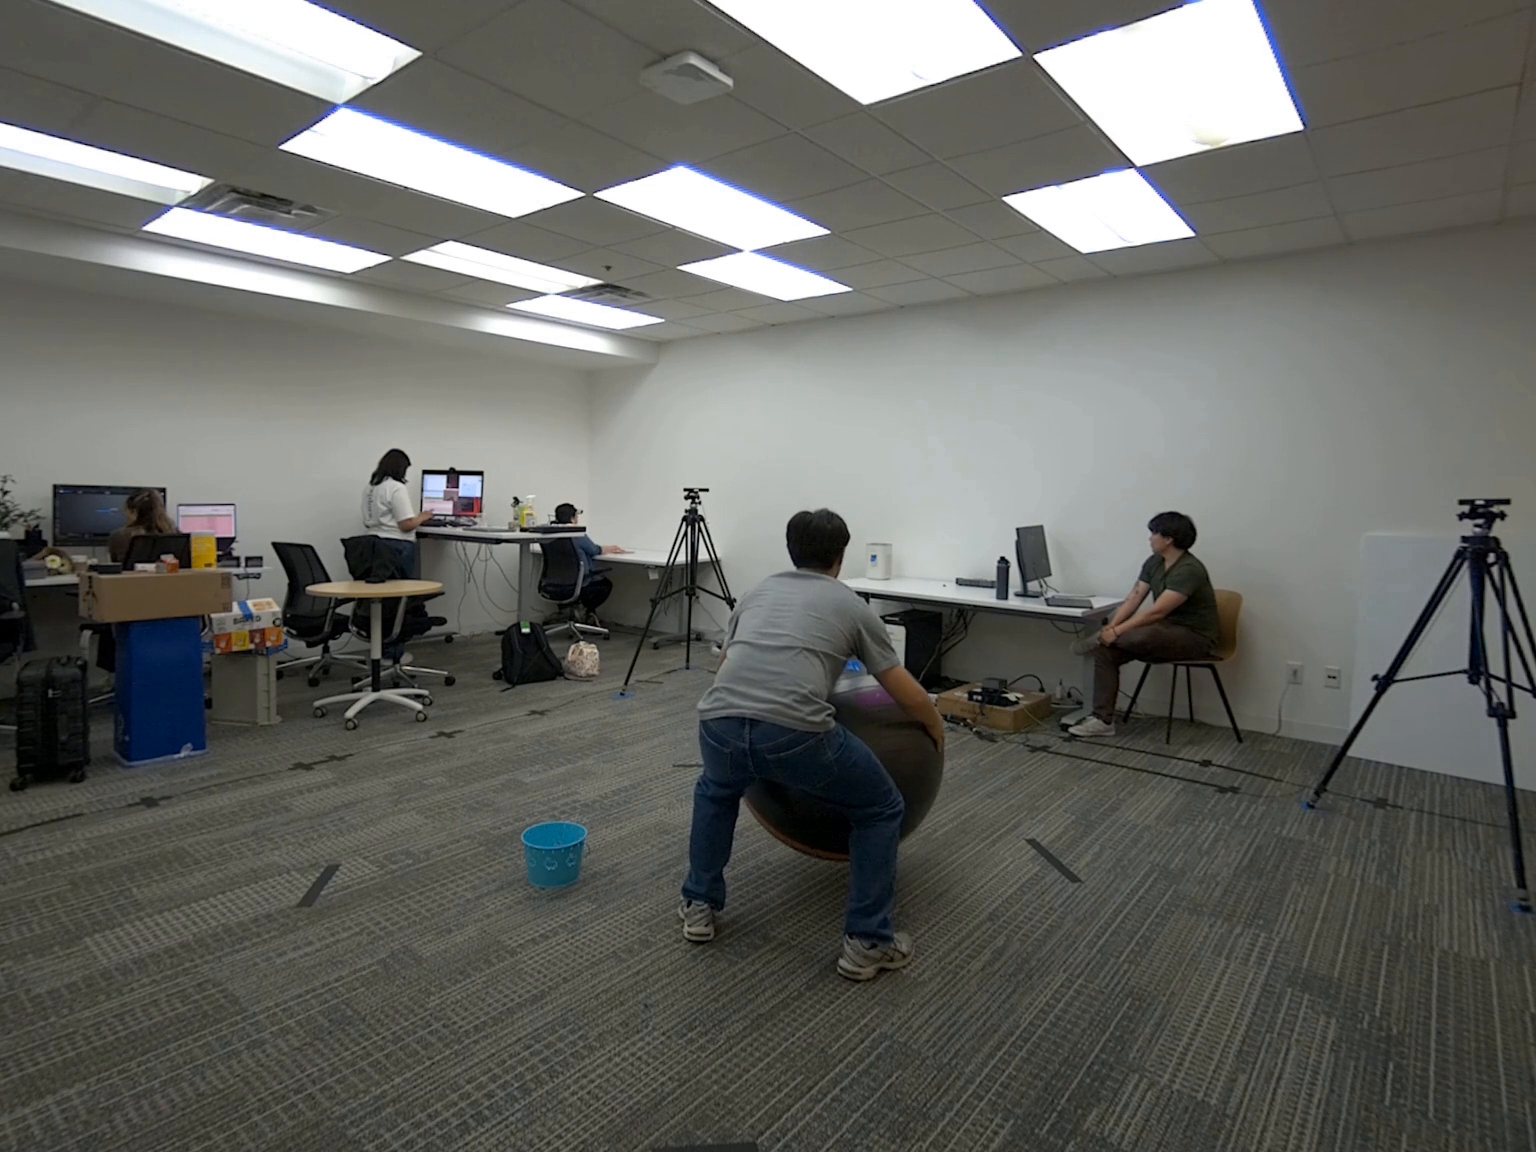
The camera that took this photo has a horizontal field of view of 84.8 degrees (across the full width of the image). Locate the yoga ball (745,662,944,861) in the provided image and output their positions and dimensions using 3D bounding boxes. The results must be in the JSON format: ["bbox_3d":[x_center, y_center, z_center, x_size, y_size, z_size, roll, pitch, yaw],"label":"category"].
[{"bbox_3d":[0.244,0.611,3.079,0.757,0.755,0.762,1,4,-2],"label":"yoga ball"}]
